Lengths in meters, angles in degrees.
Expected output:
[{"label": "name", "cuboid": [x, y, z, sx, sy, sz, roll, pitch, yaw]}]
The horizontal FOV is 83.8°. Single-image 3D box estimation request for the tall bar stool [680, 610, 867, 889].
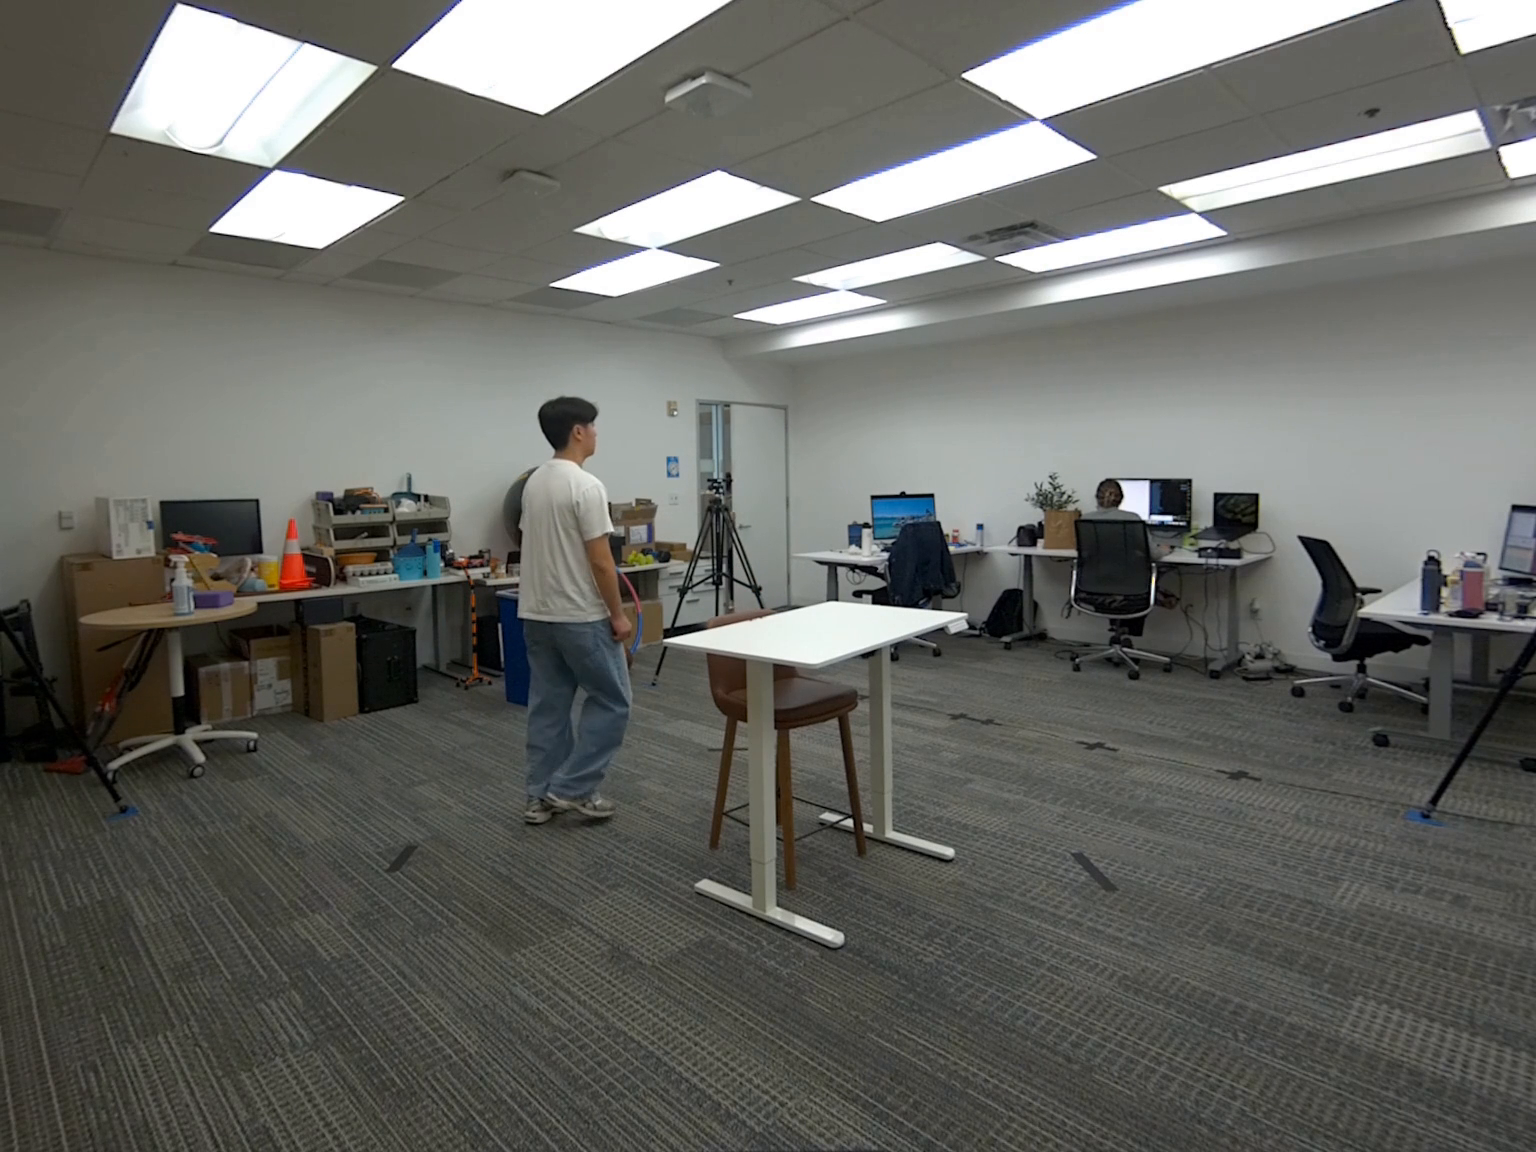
[{"label": "tall bar stool", "cuboid": [0.052, 0.599, 3.183, 0.444, 0.888, 0.481, -4, 3, -42]}]
